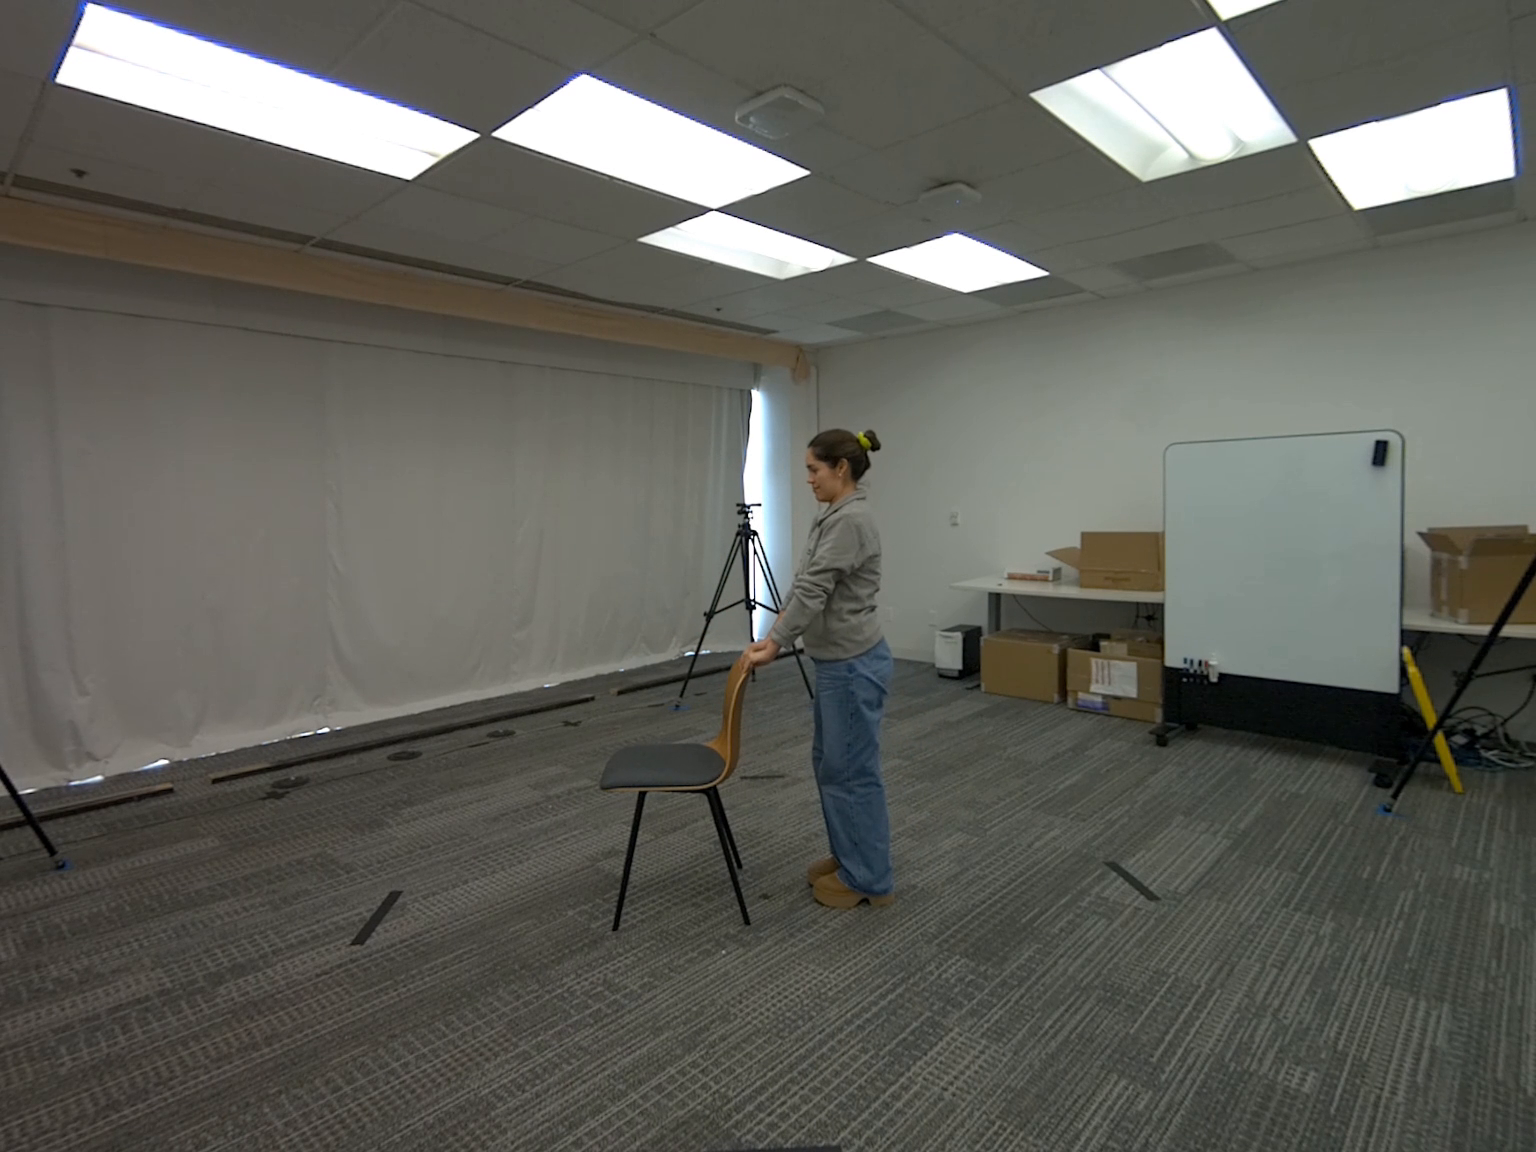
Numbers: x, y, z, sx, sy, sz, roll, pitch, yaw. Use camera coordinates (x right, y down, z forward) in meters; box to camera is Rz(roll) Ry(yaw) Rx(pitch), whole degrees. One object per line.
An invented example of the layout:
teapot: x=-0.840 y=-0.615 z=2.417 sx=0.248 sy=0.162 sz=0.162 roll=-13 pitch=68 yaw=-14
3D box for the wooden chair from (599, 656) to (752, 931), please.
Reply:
wooden chair: x=-0.320 y=0.721 z=2.966 sx=0.521 sy=0.875 sz=0.481 roll=3 pitch=4 yaw=-4
